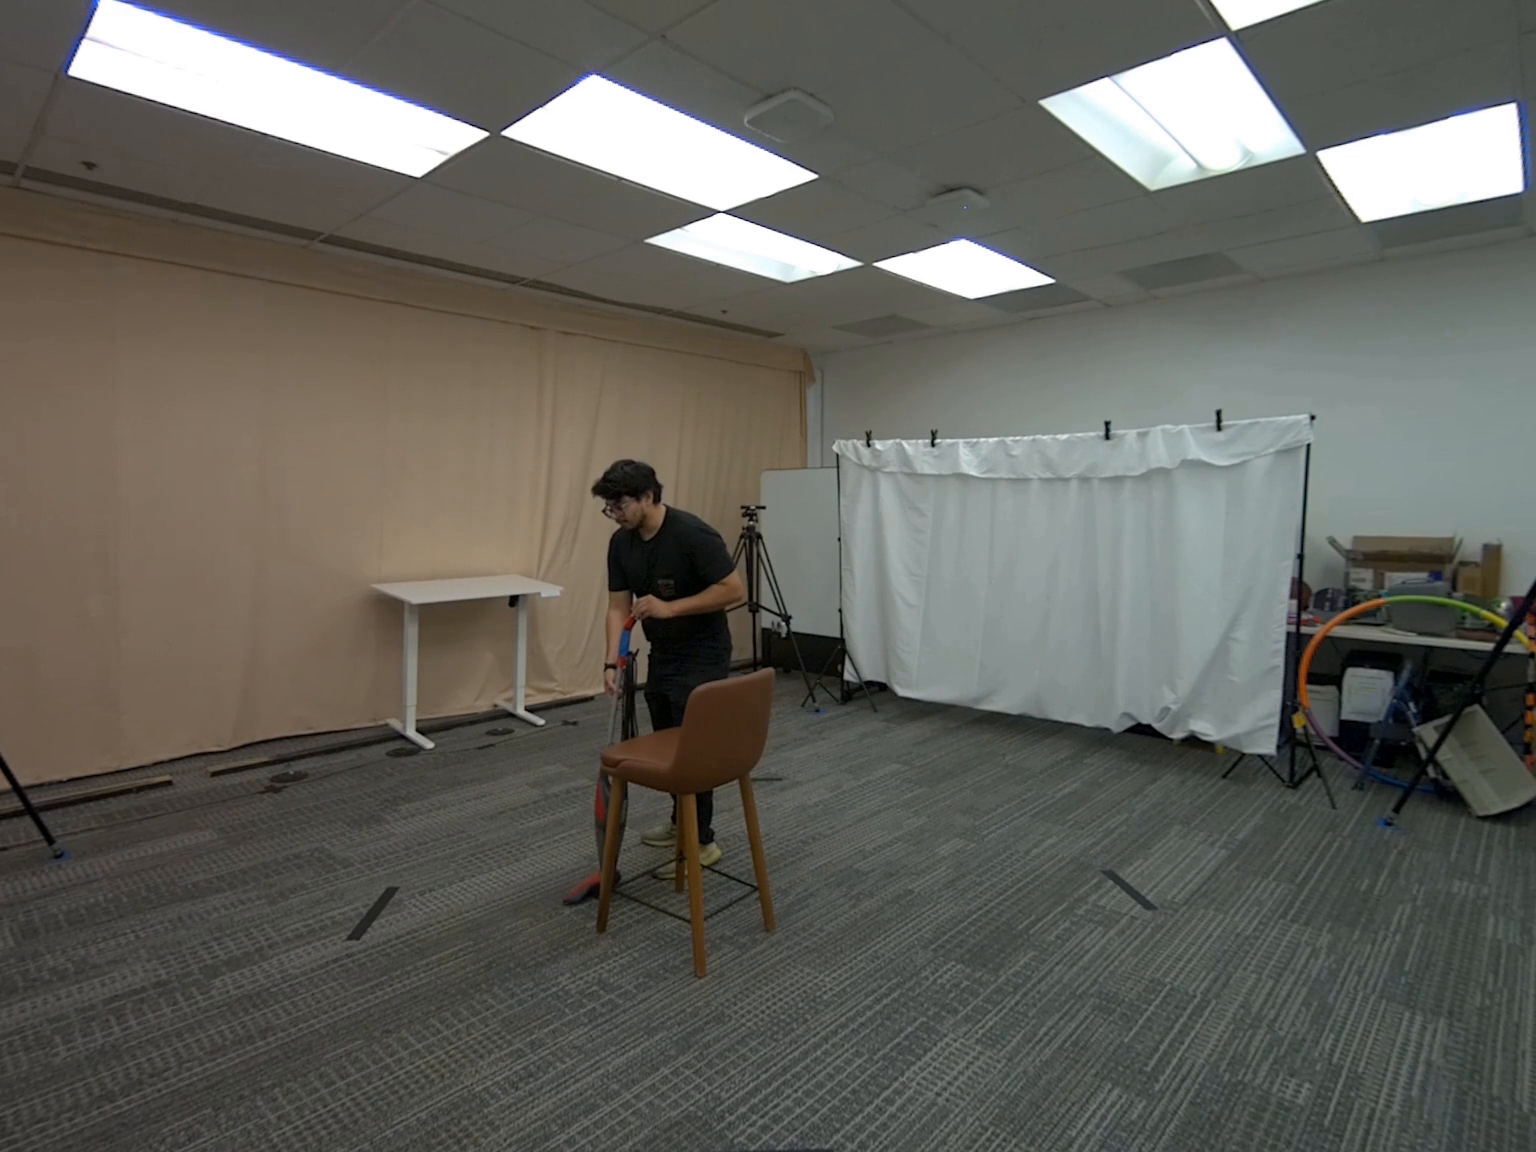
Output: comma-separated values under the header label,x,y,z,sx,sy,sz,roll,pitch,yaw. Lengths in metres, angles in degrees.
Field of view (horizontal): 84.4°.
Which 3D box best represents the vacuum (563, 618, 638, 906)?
label,x,y,z,sx,sy,sz,roll,pitch,yaw
vacuum,-0.537,0.630,2.994,0.148,1.046,0.247,12,7,22
